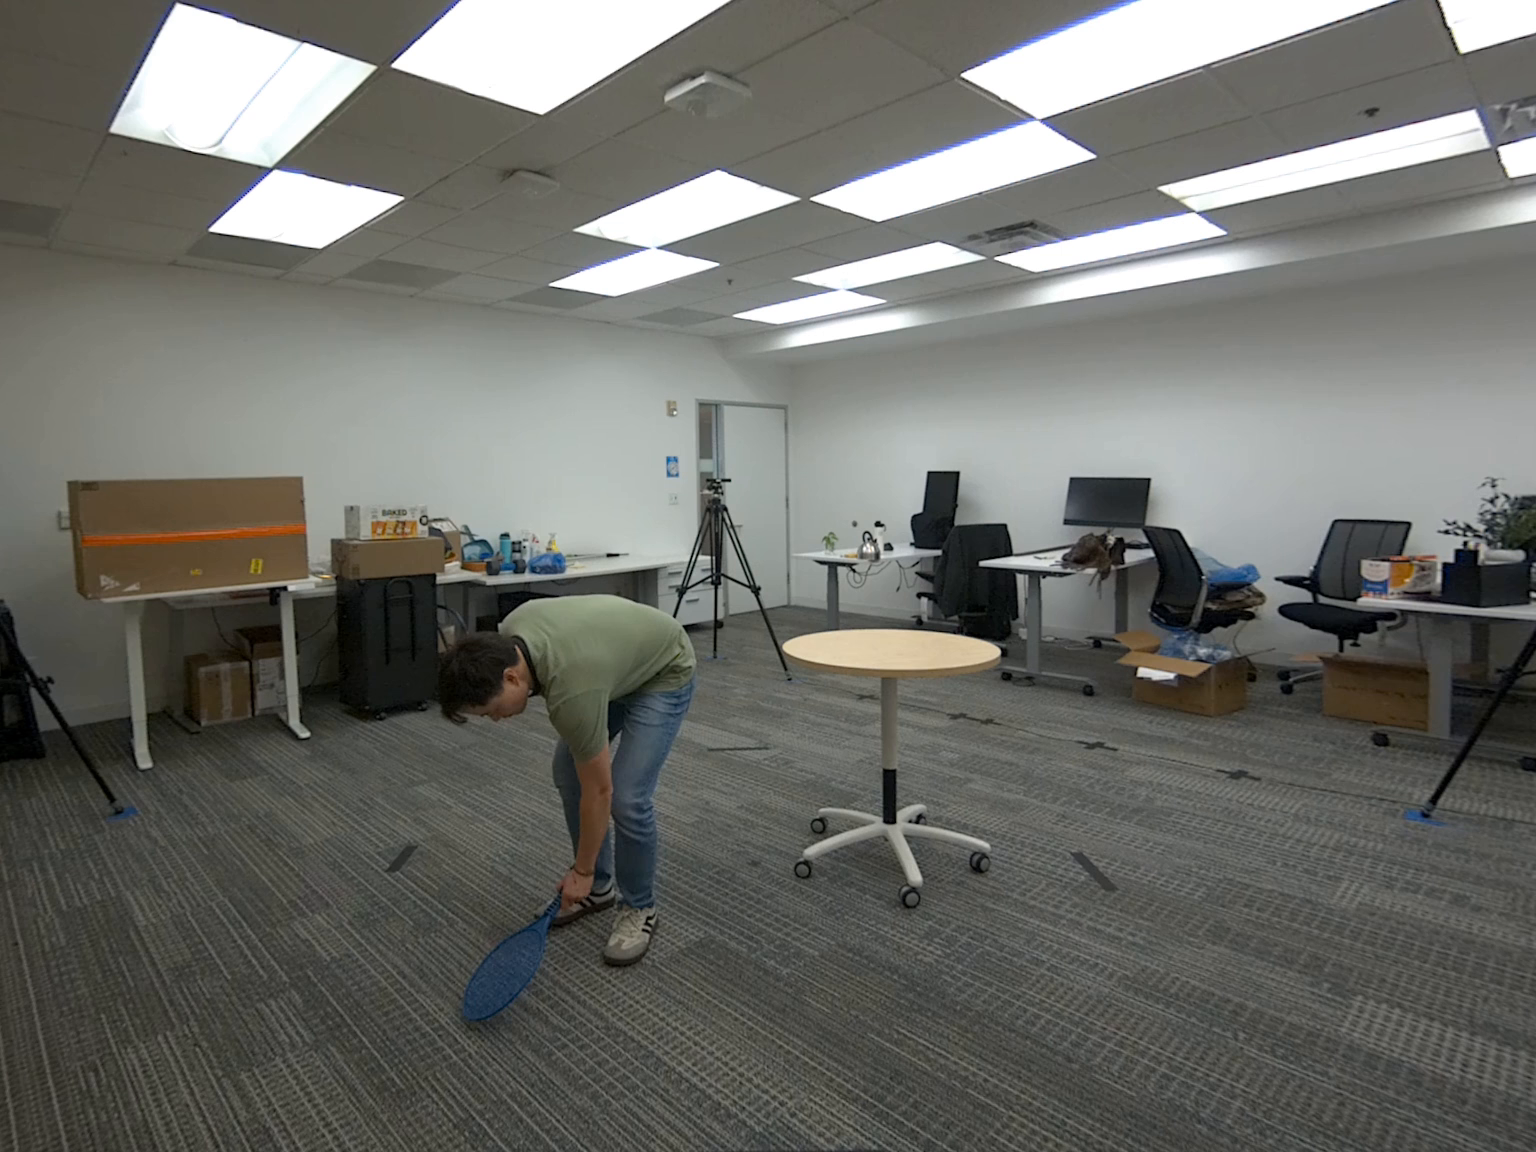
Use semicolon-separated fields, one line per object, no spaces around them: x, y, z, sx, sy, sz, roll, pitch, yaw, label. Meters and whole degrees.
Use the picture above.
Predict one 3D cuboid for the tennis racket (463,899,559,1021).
-0.669;1.012;2.323;0.219;0.031;0.433;-6;33;42;tennis racket
